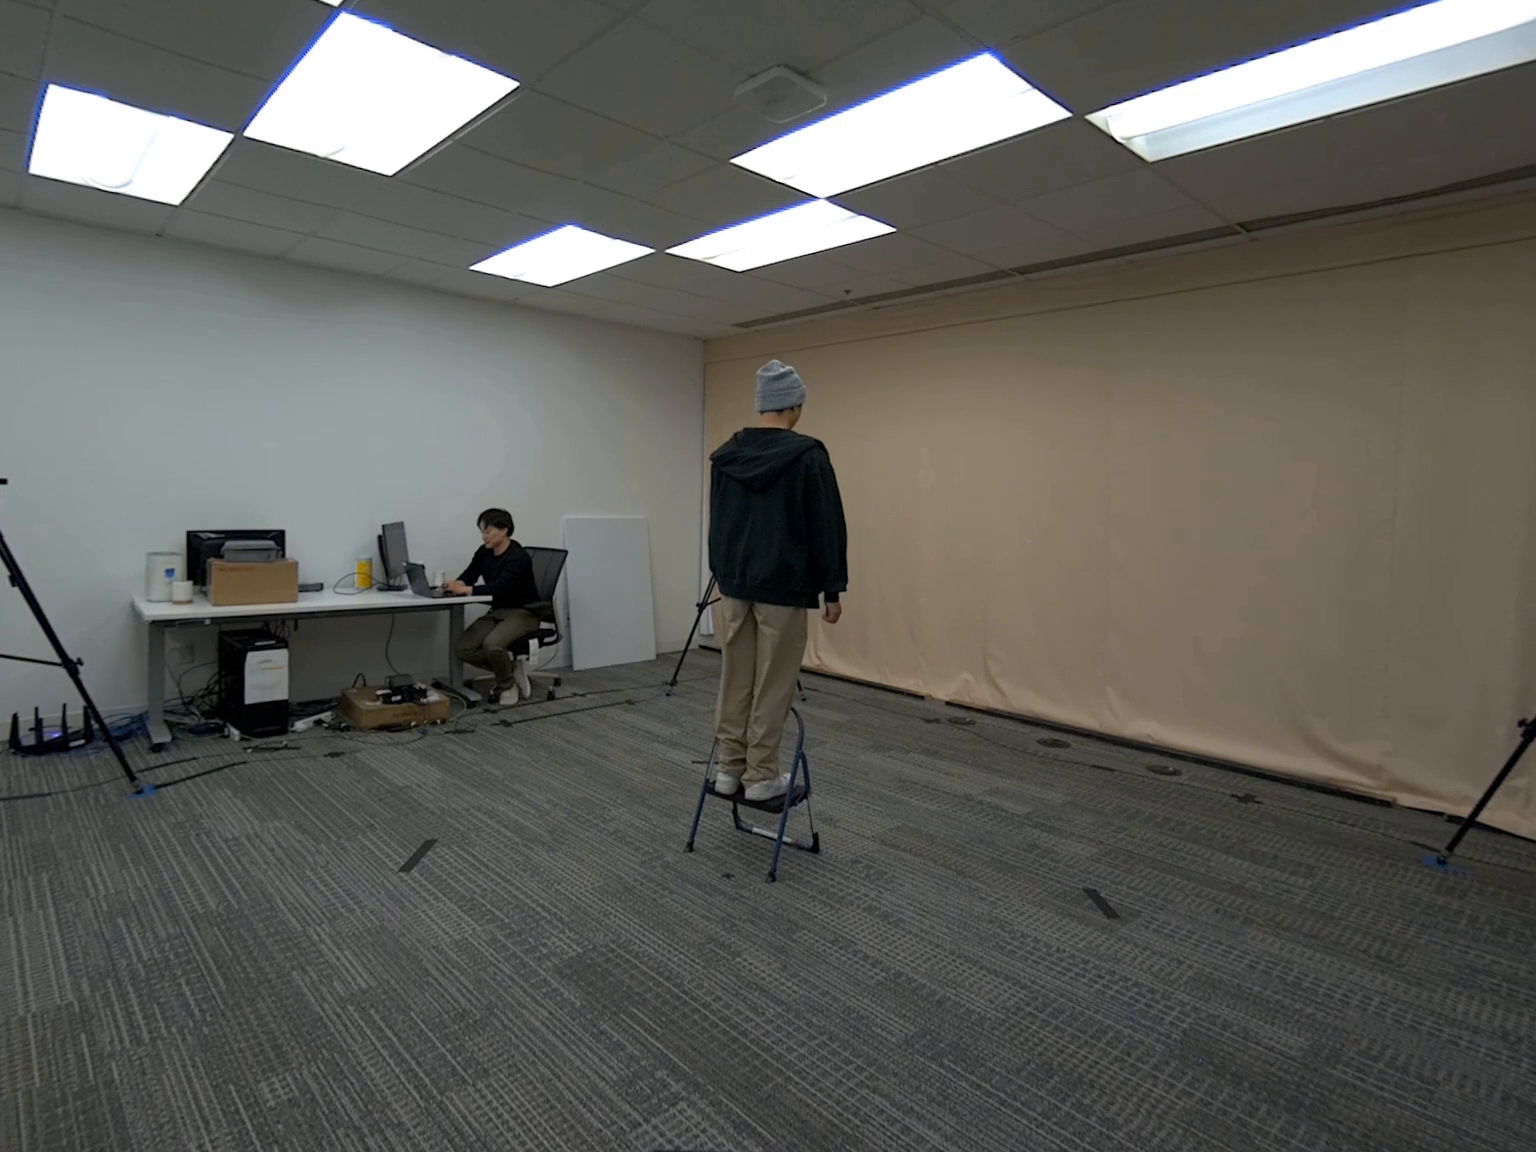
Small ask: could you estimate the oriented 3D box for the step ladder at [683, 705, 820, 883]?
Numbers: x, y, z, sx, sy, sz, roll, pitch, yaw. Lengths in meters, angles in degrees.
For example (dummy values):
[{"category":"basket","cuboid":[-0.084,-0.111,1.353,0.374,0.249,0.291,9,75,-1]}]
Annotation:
[{"category":"step ladder","cuboid":[-0.054,0.790,3.307,0.441,0.605,0.341,4,3,36]}]
